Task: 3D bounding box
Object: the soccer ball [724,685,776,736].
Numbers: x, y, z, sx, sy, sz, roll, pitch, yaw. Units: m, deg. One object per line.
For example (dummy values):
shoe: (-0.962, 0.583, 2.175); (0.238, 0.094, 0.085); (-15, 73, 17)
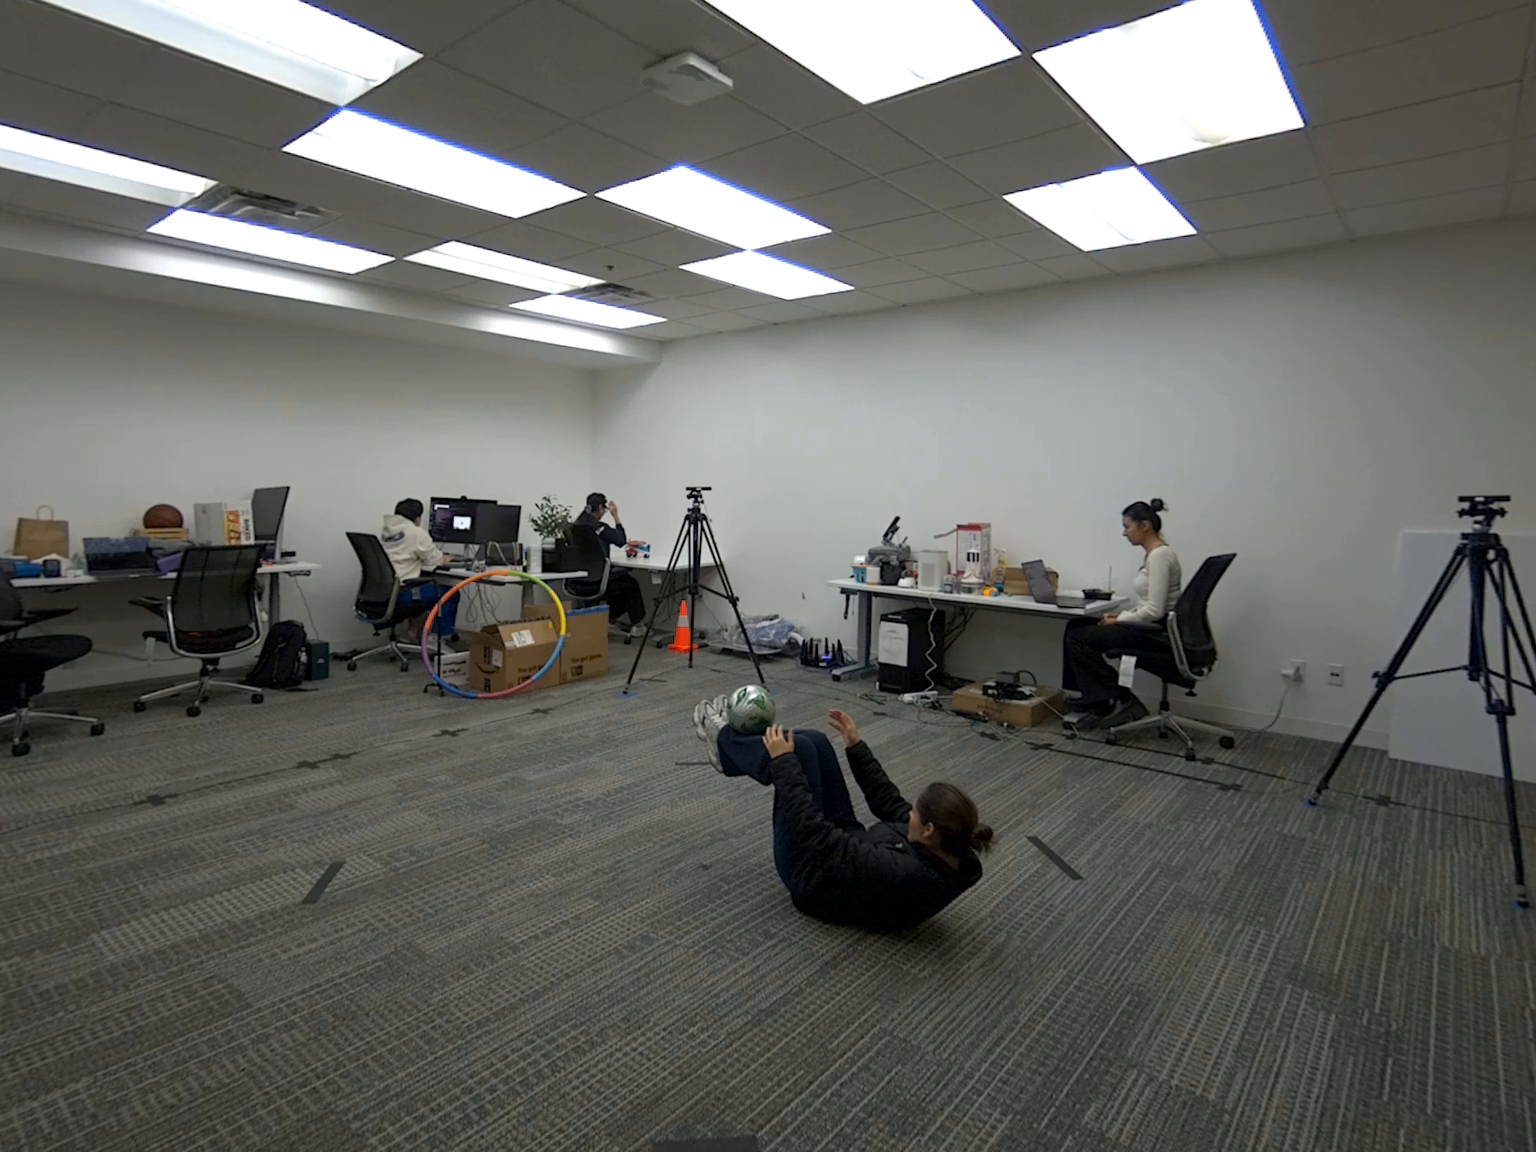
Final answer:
soccer ball: (-0.074, 0.495, 3.166); (0.187, 0.187, 0.188); (-3, 3, -2)
